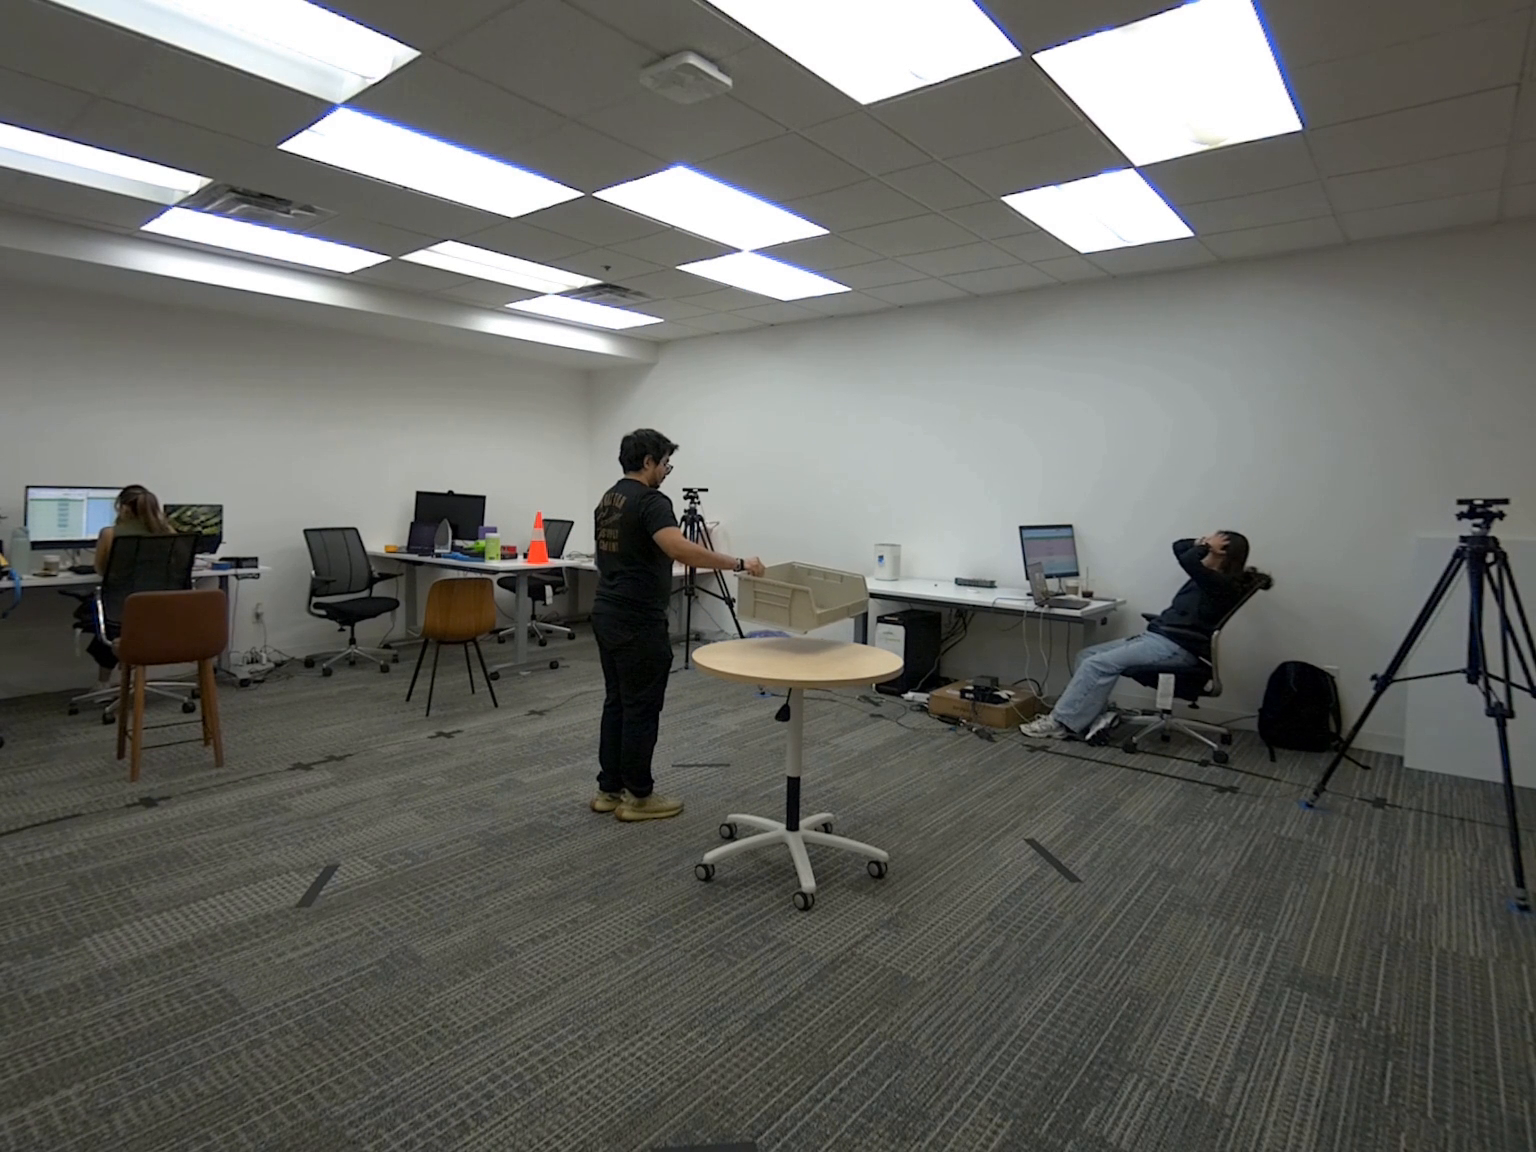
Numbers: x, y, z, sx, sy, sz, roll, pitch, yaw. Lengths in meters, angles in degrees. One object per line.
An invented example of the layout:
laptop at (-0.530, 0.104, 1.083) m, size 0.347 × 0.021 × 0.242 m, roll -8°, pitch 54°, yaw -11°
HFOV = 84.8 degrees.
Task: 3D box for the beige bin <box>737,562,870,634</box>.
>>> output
beige bin at (0.128, 0.080, 3.355) m, size 0.390 × 0.187 × 0.412 m, roll 10°, pitch 13°, yaw 35°
